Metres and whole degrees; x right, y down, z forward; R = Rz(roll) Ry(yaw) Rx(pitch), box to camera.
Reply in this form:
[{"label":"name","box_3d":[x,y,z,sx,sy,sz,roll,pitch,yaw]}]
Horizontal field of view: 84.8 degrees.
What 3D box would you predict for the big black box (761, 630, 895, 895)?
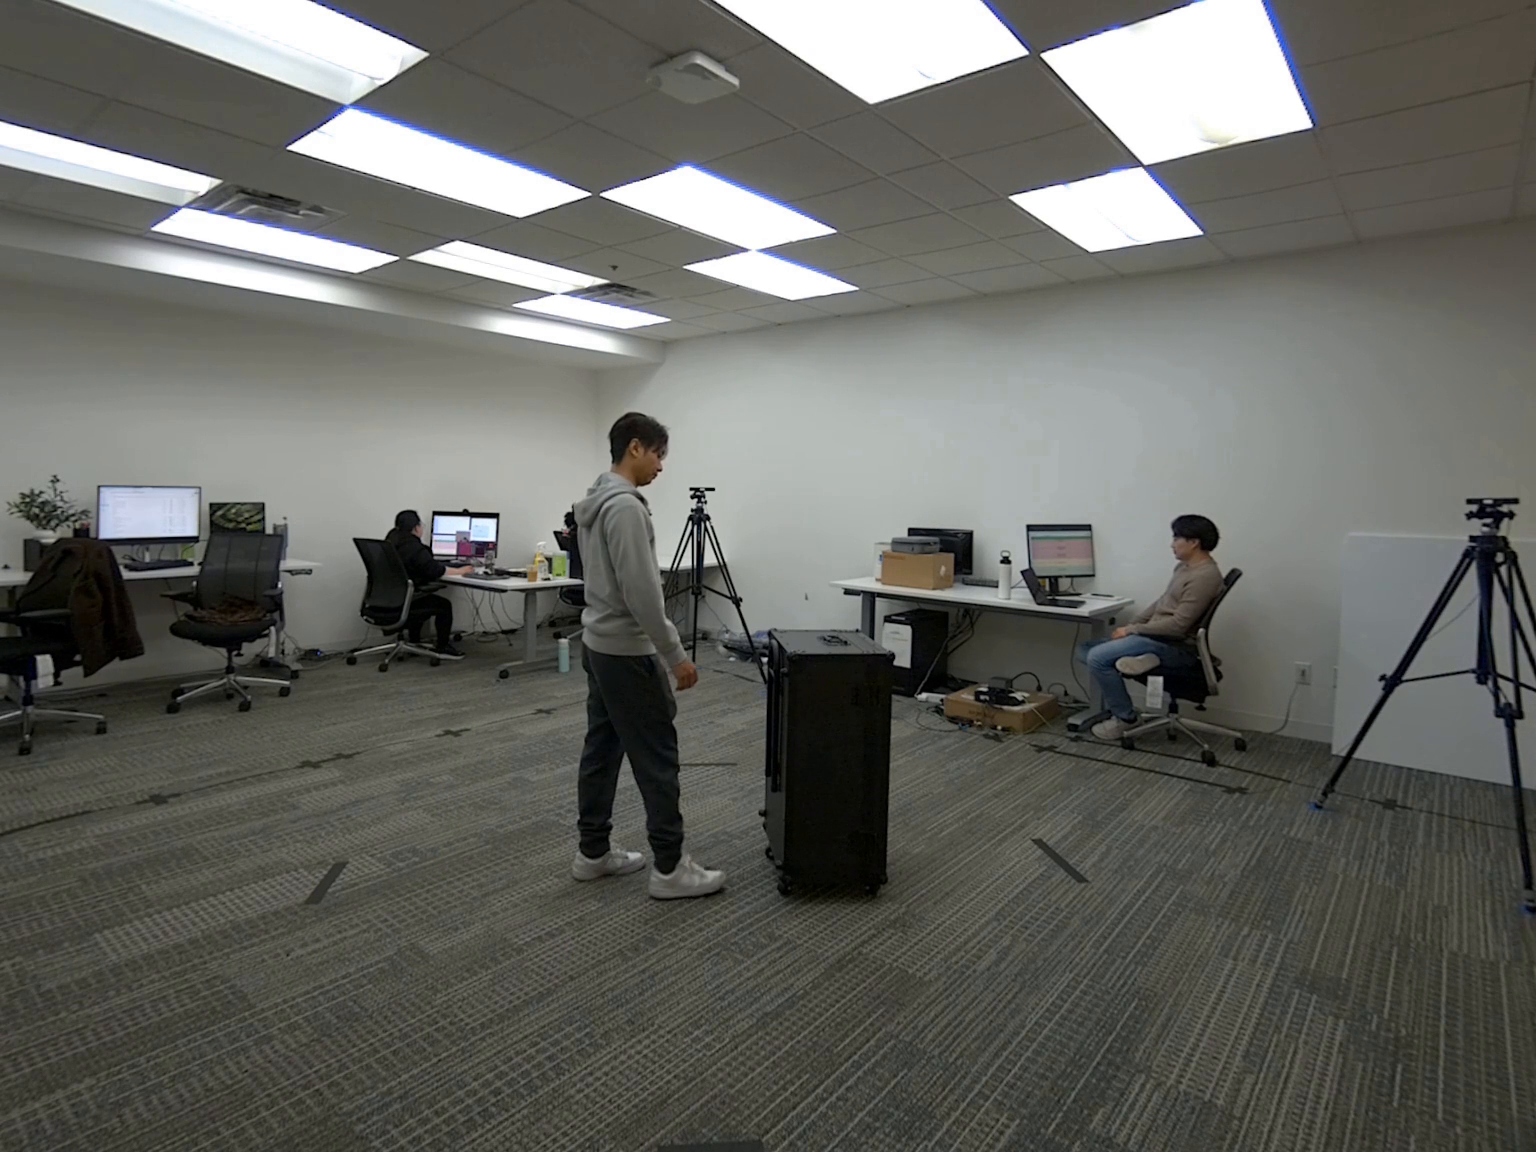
[{"label":"big black box","box_3d":[0.186,0.661,3.065,0.394,0.858,0.527,0,5,-7]}]
